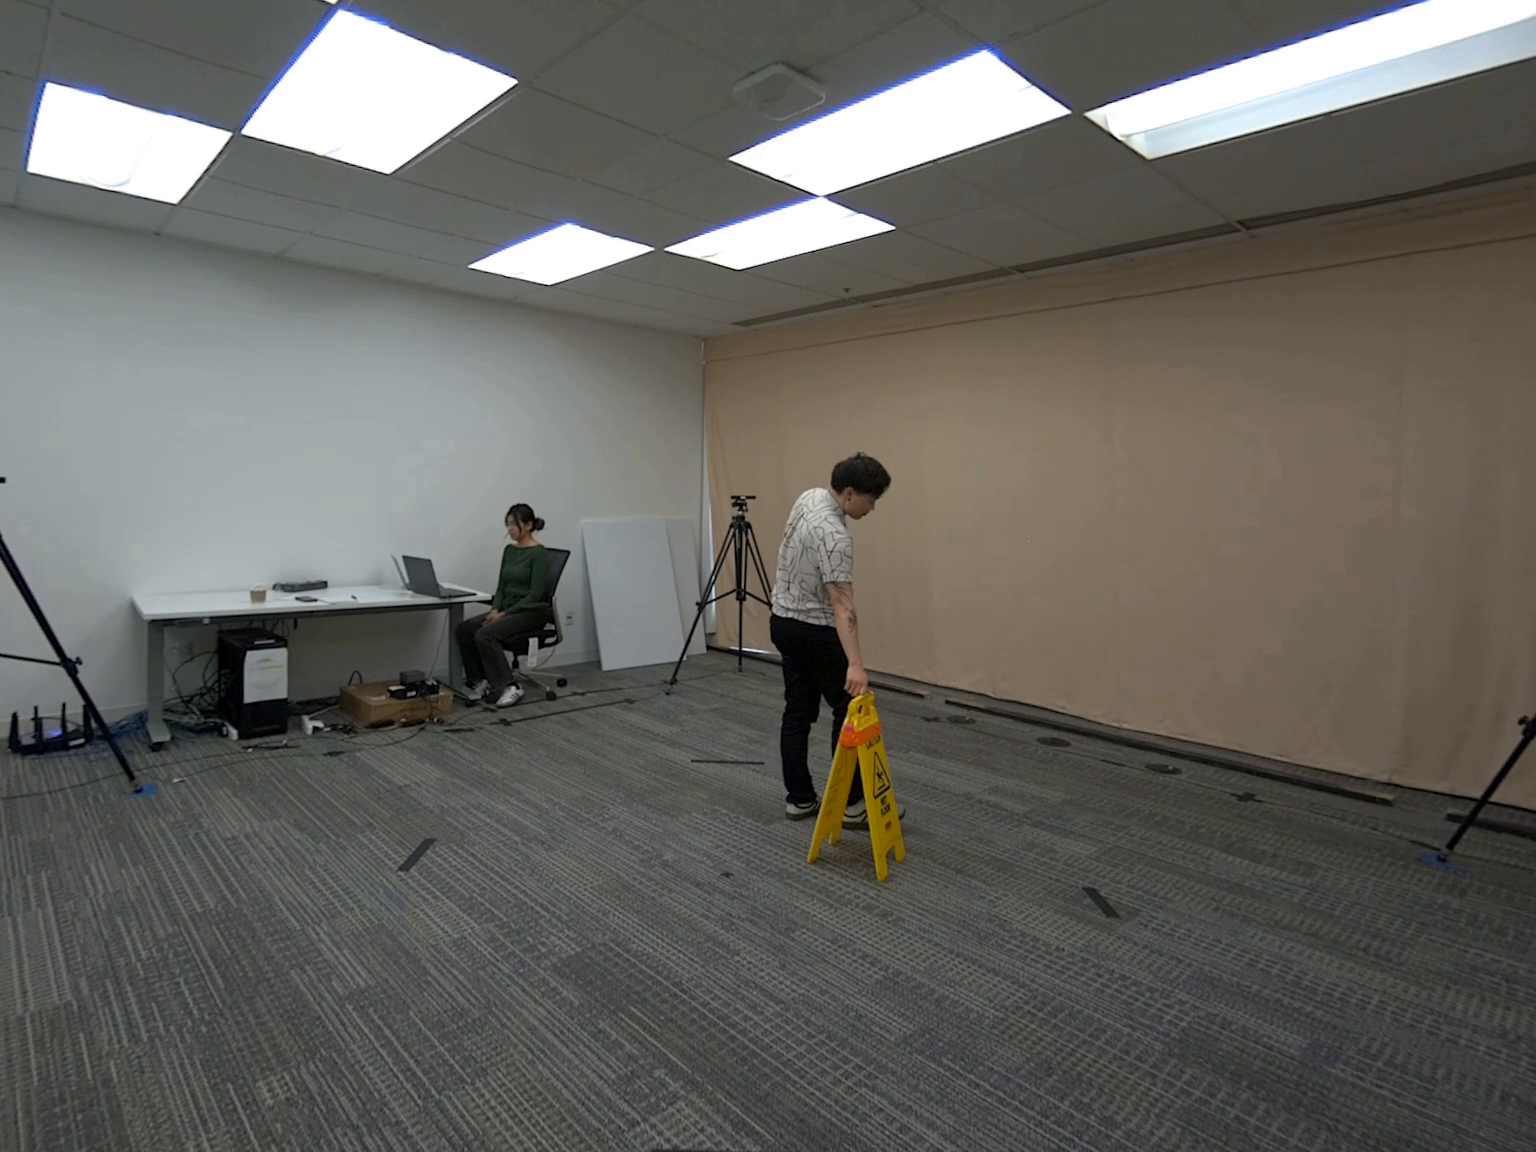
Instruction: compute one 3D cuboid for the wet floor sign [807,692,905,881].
[{"bbox_3d":[0.339,0.779,3.243,0.296,0.645,0.277,2,2,29],"label":"wet floor sign"}]
